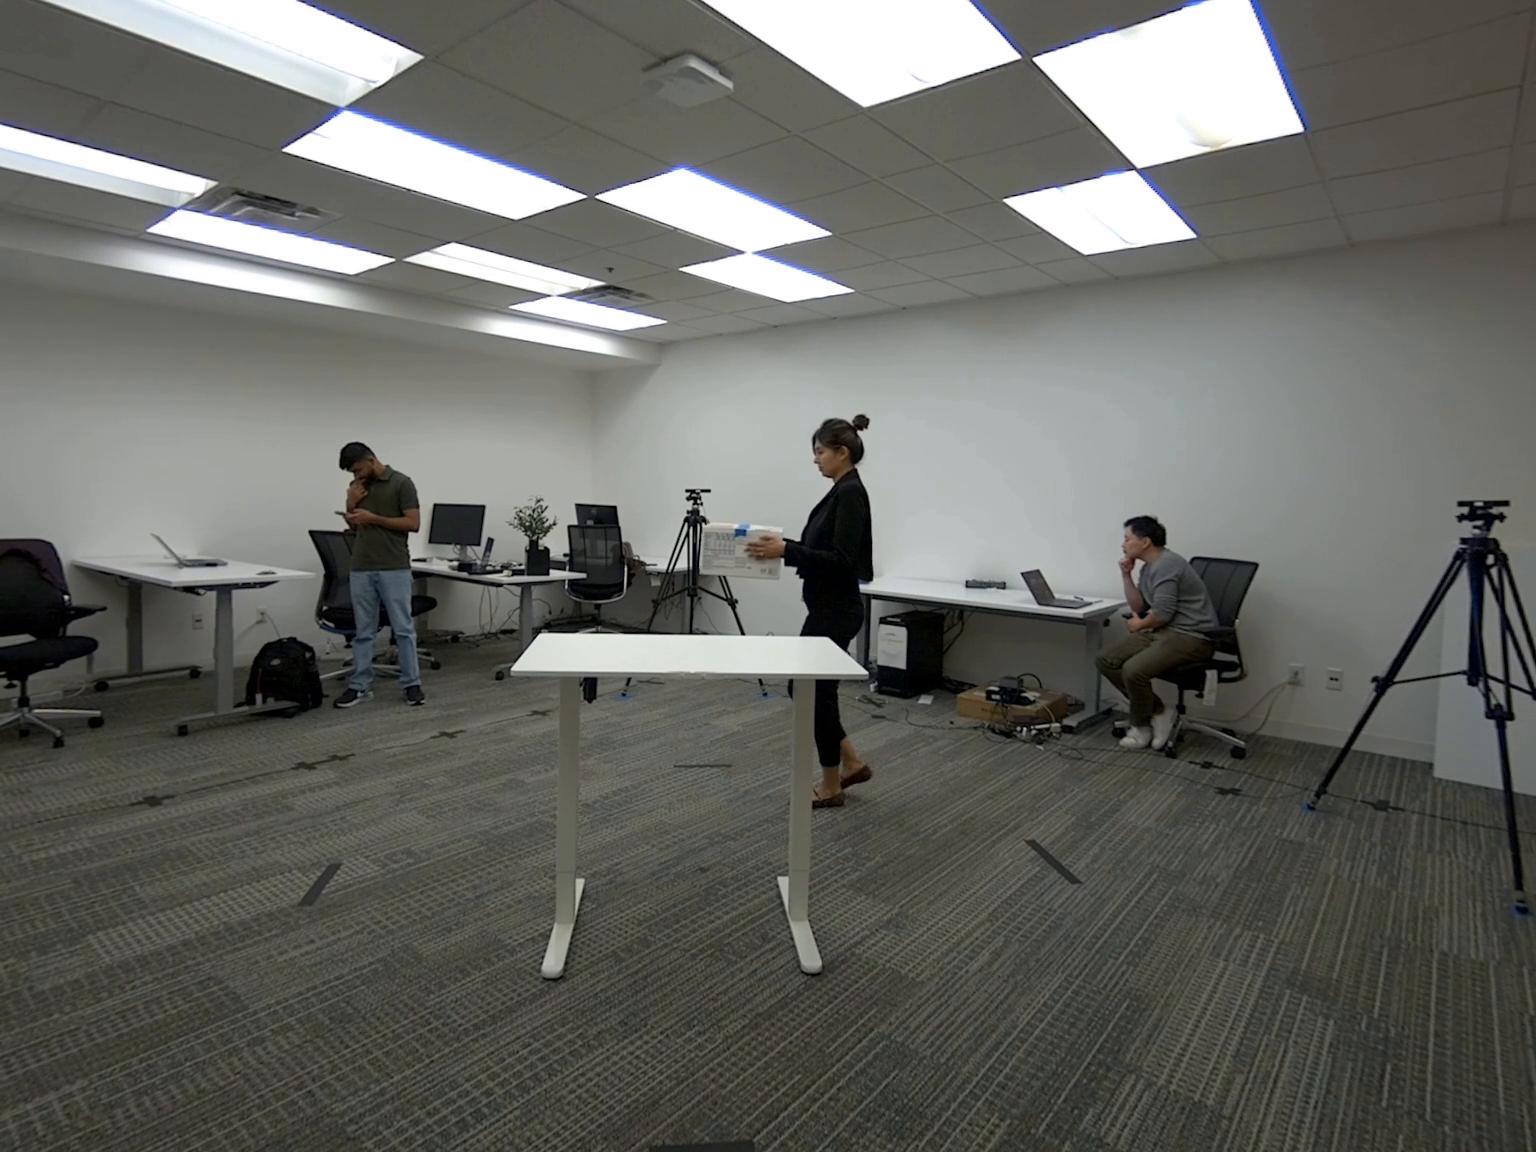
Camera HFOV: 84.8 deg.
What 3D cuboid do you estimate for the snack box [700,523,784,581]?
[{"bbox_3d":[-0.111,-0.116,3.757,0.341,0.205,0.406,3,6,1],"label":"snack box"}]
